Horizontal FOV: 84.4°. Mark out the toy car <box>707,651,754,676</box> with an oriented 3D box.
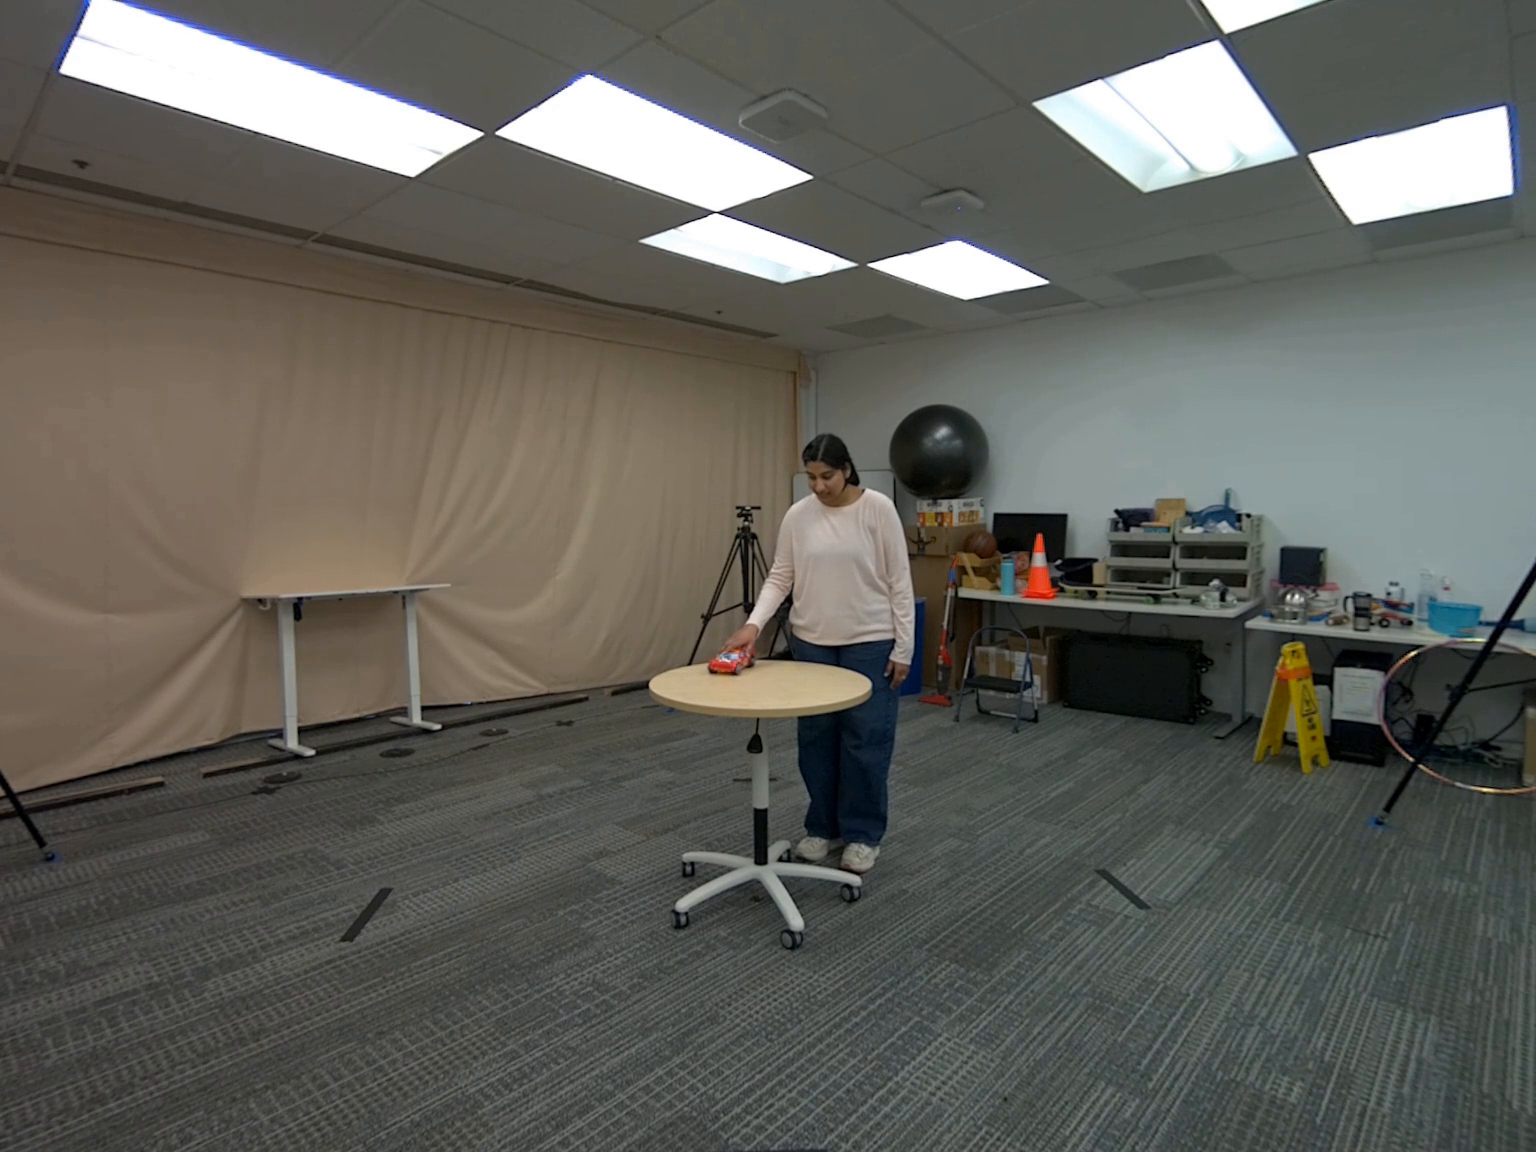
[{"bbox_3d":[-0.122,0.317,3.131,0.133,0.082,0.252,0,15,19],"label":"toy car"}]
